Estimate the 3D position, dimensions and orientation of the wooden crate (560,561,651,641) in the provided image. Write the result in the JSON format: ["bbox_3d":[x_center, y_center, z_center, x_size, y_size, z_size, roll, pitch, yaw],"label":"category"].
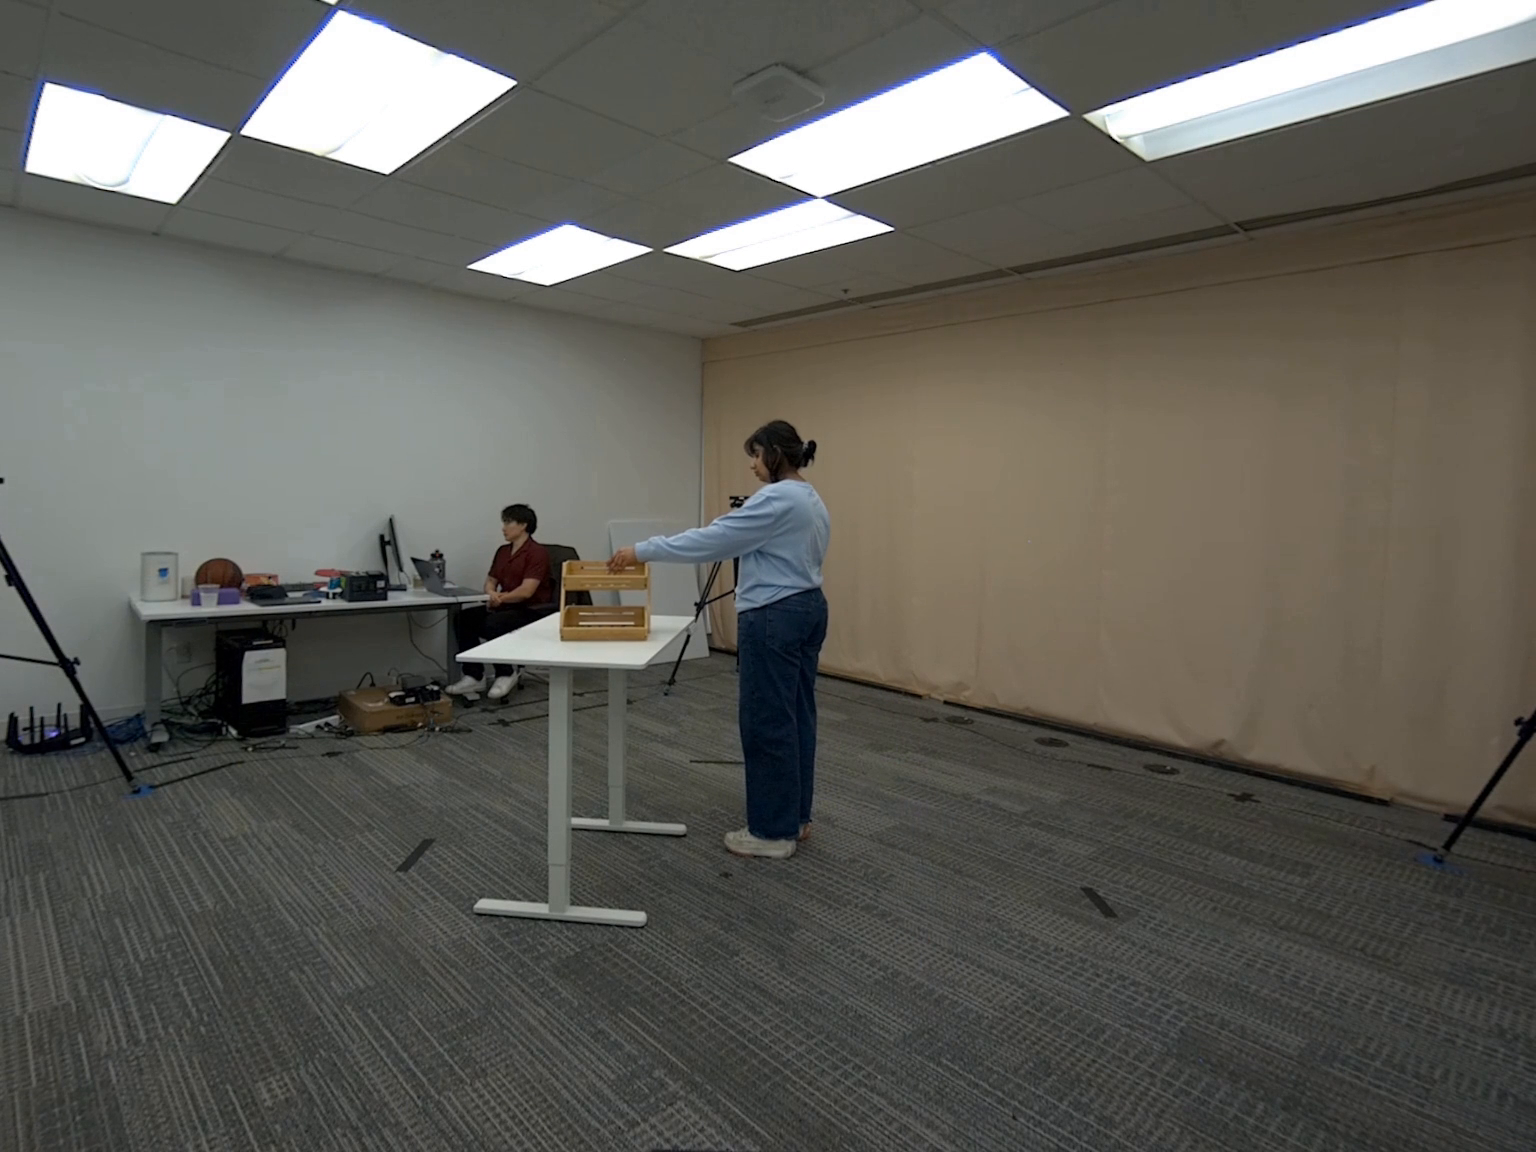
[{"bbox_3d":[-0.608,0.085,3.066,0.323,0.273,0.304,0,3,-7],"label":"wooden crate"}]
